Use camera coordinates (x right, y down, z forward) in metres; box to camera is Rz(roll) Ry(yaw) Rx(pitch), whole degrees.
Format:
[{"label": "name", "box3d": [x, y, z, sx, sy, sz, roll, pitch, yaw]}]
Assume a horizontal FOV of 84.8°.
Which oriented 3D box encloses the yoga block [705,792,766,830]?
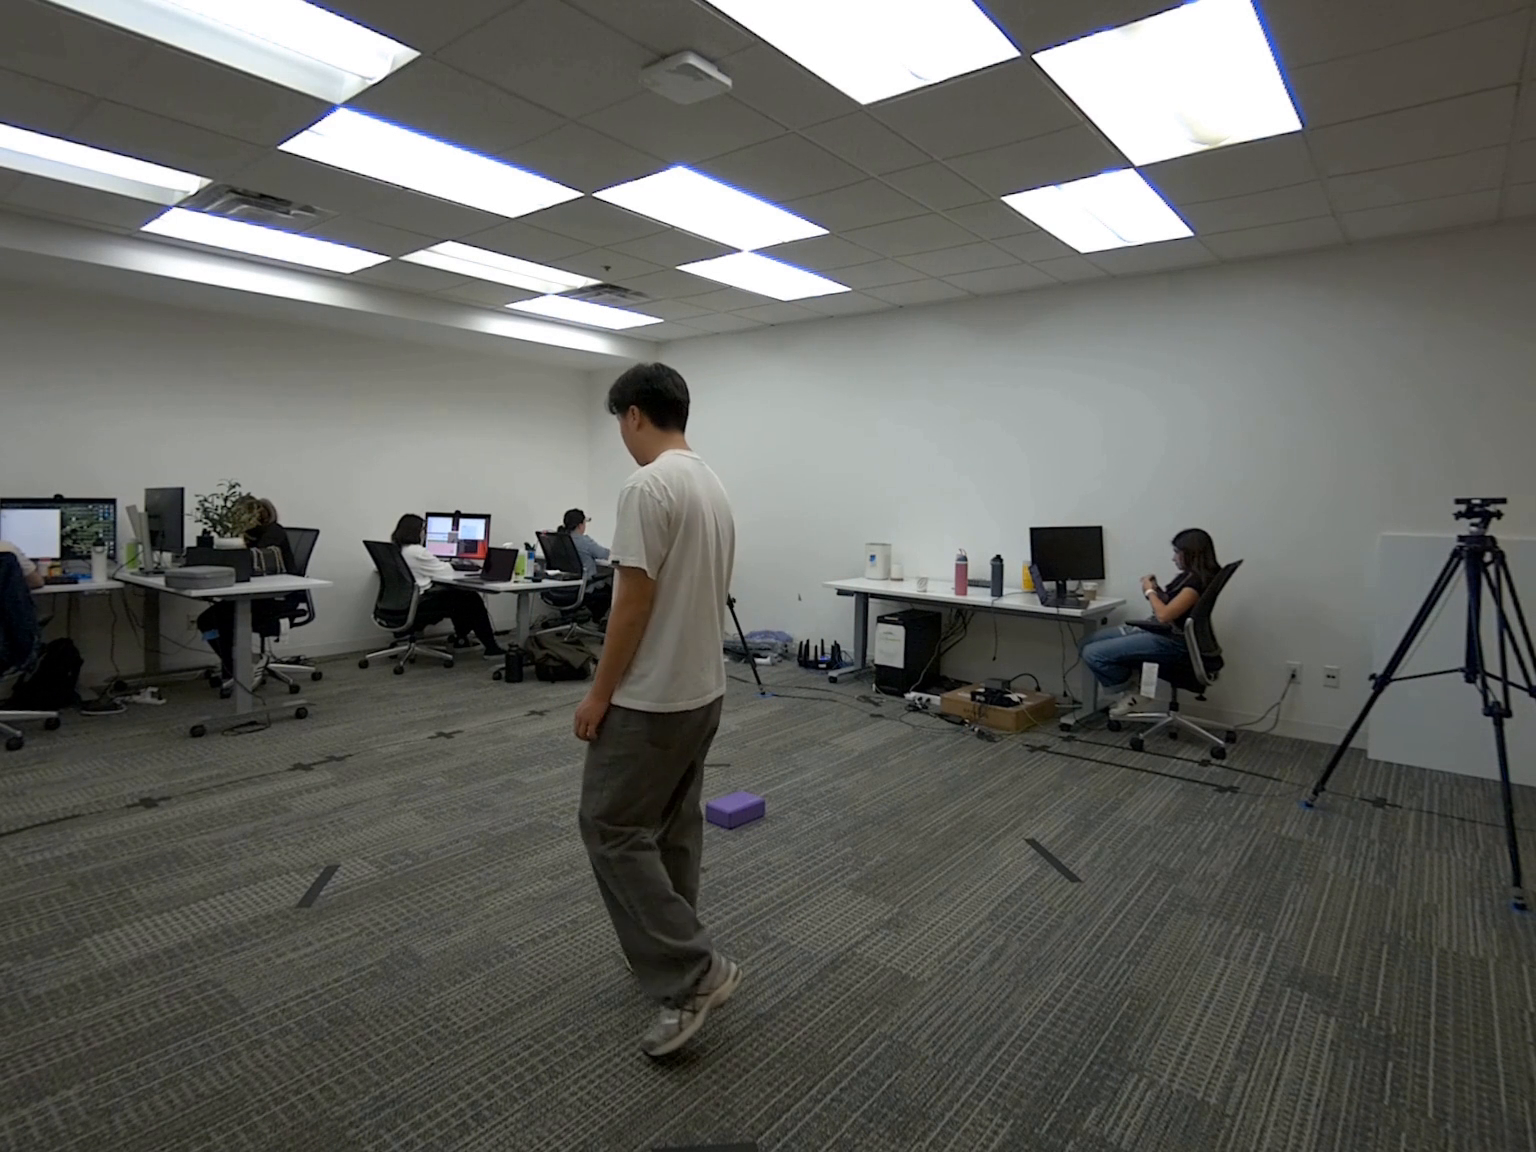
[{"label": "yoga block", "box3d": [-0.136, 0.979, 3.605, 0.154, 0.076, 0.222, 5, 7, 42]}]
